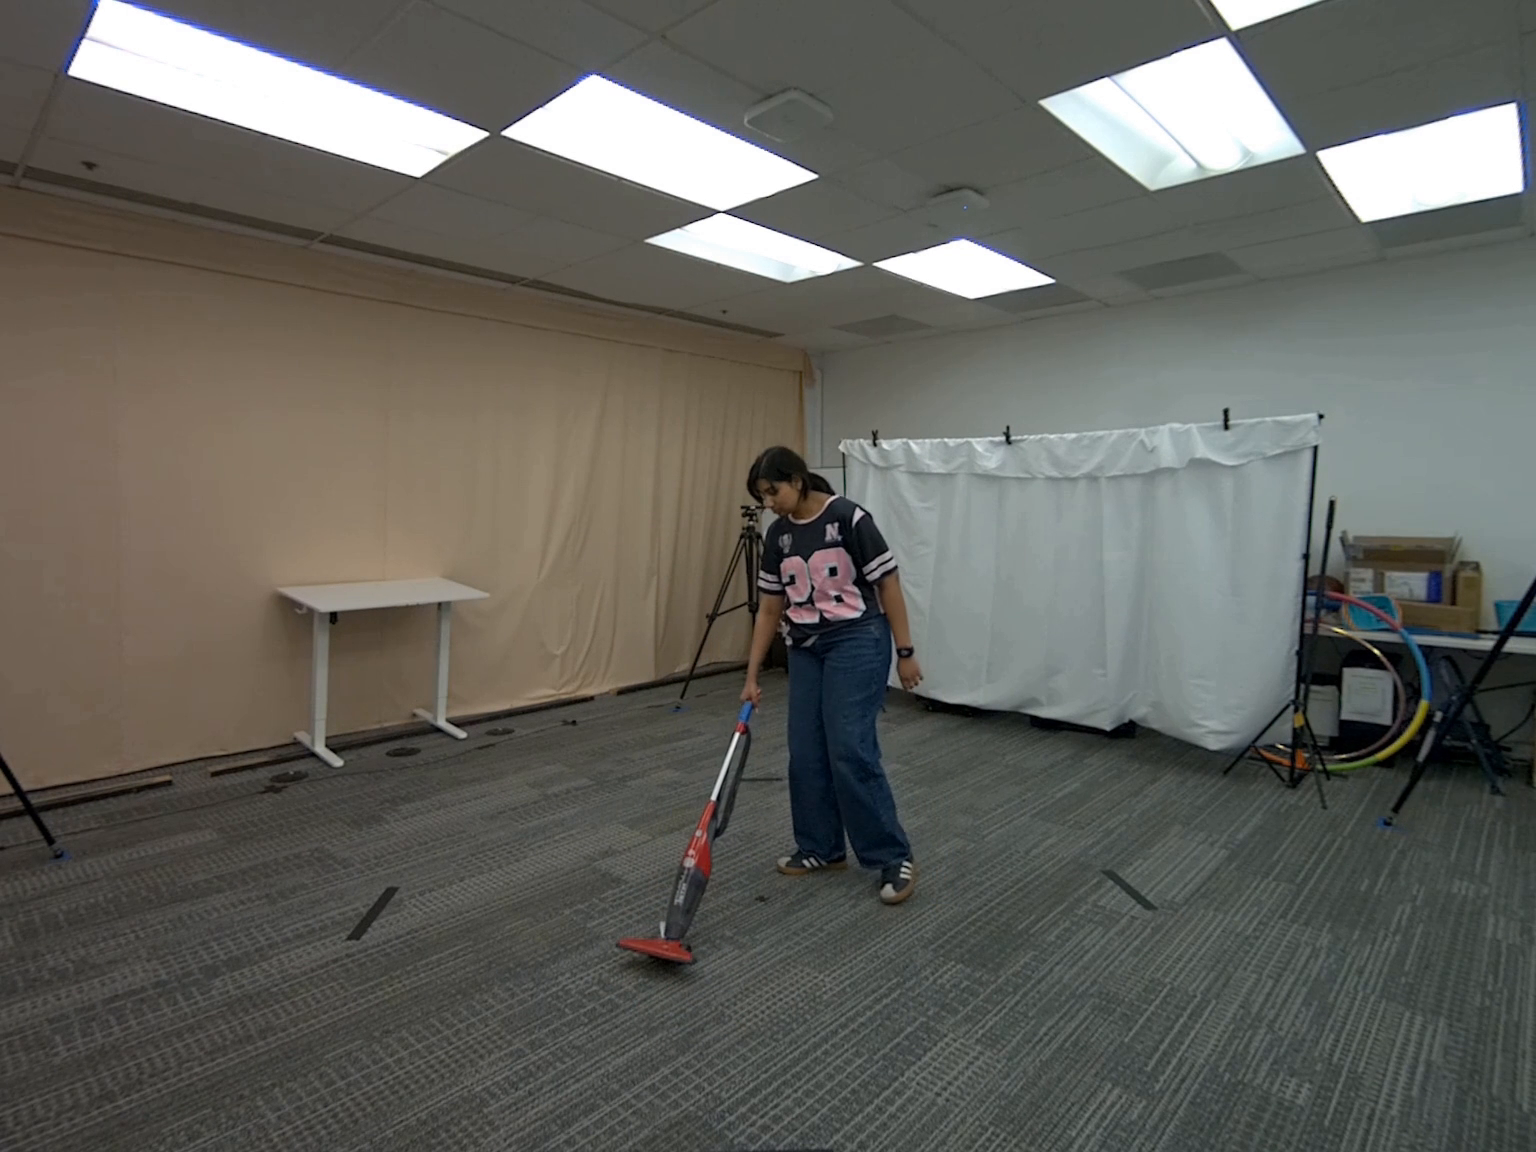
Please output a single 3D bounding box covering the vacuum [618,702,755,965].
[{"bbox_3d":[-0.167,0.809,2.903,0.258,0.140,1.052,1,42,22],"label":"vacuum"}]
